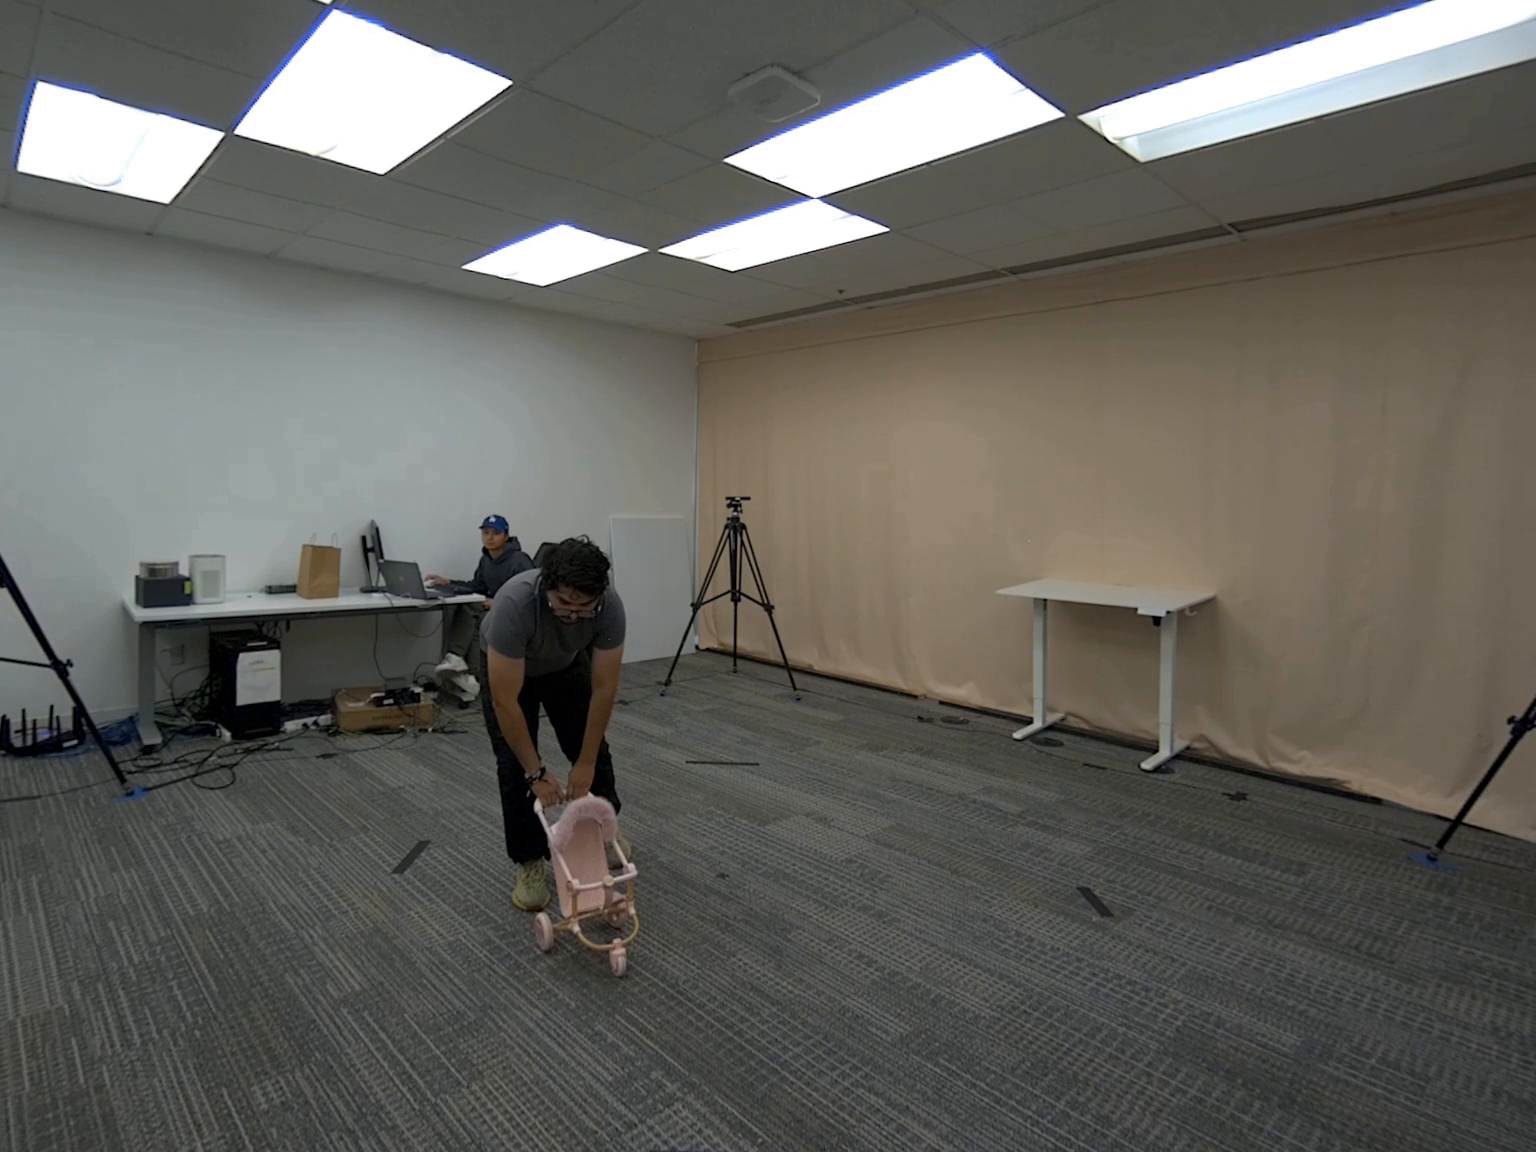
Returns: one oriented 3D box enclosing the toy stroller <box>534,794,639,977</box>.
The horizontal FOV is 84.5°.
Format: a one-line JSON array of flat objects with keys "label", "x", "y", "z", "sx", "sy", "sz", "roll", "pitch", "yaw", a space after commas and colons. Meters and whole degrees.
[{"label": "toy stroller", "x": -0.555, "y": 0.923, "z": 2.588, "sx": 0.275, "sy": 0.540, "sz": 0.345, "roll": -2, "pitch": -12, "yaw": -33}]
